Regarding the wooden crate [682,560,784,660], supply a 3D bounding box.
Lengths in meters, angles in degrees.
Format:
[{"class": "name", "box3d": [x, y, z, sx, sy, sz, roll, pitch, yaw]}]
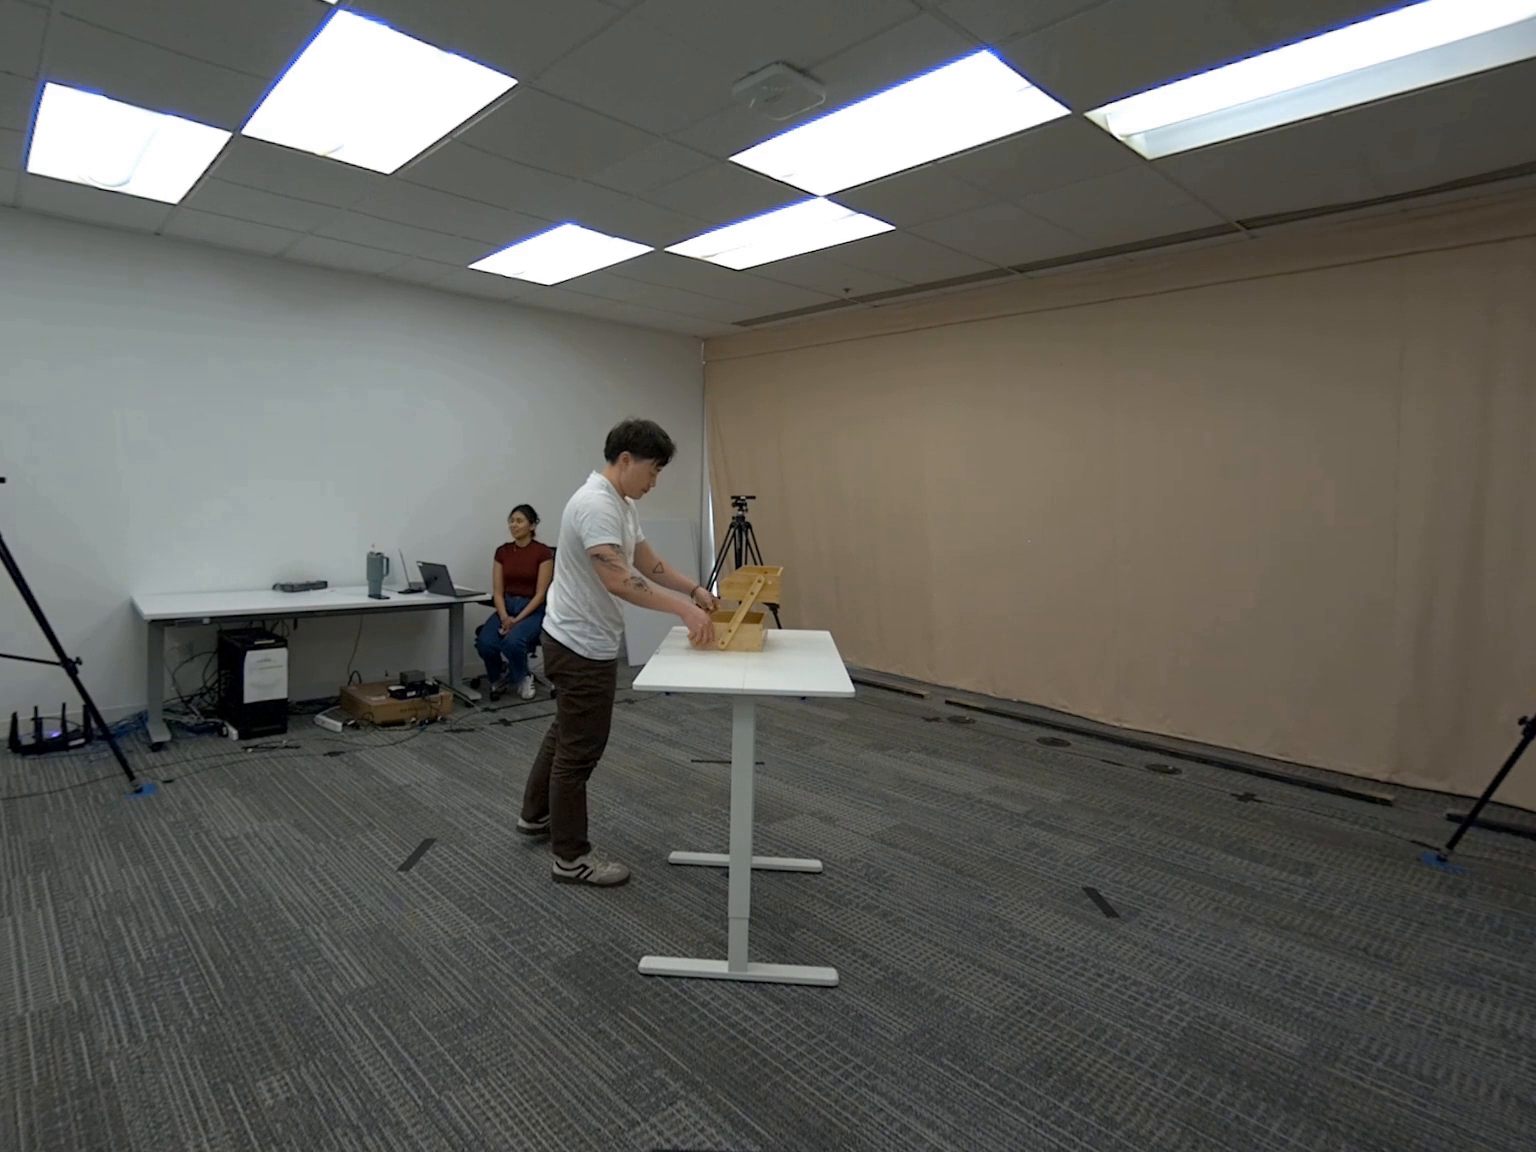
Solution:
[{"class": "wooden crate", "box3d": [-0.114, 0.105, 2.924, 0.303, 0.272, 0.324, 4, 6, 5]}]
